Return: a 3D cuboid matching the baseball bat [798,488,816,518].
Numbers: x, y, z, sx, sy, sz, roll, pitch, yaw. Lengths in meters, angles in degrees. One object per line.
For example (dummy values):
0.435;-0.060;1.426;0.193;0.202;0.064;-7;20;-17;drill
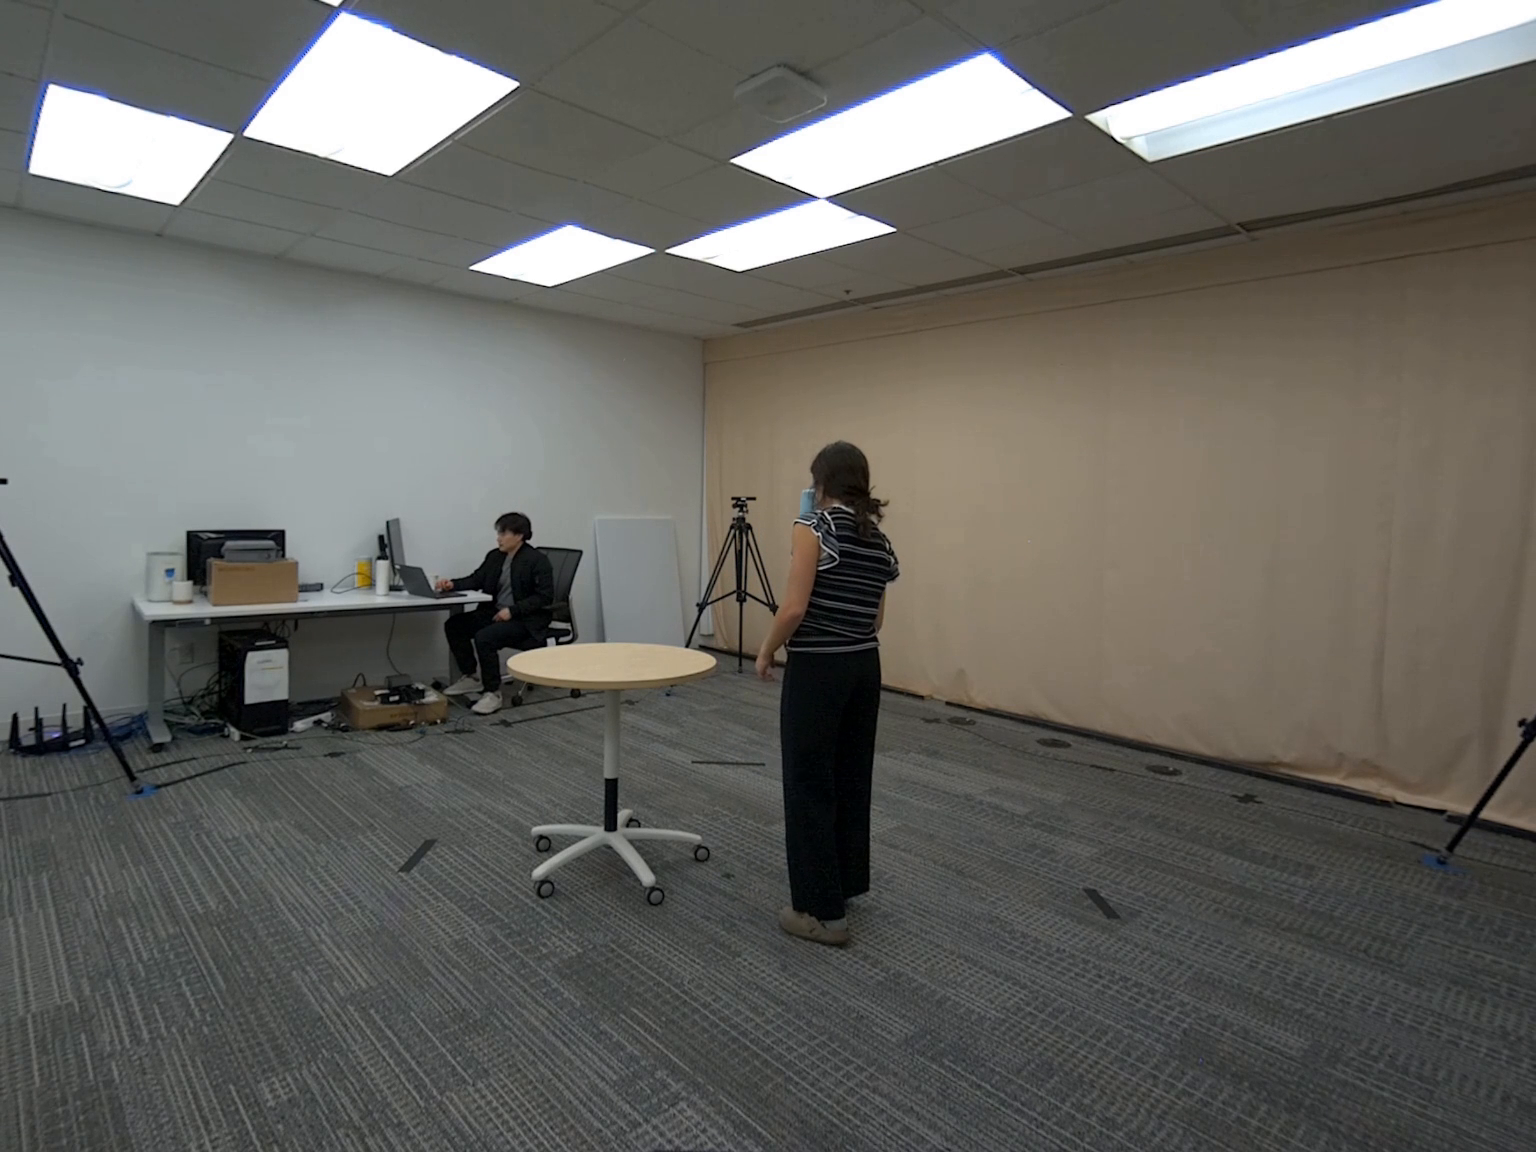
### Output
0.144;-0.042;3.074;0.089;0.542;0.089;4;3;-2;baseball bat
